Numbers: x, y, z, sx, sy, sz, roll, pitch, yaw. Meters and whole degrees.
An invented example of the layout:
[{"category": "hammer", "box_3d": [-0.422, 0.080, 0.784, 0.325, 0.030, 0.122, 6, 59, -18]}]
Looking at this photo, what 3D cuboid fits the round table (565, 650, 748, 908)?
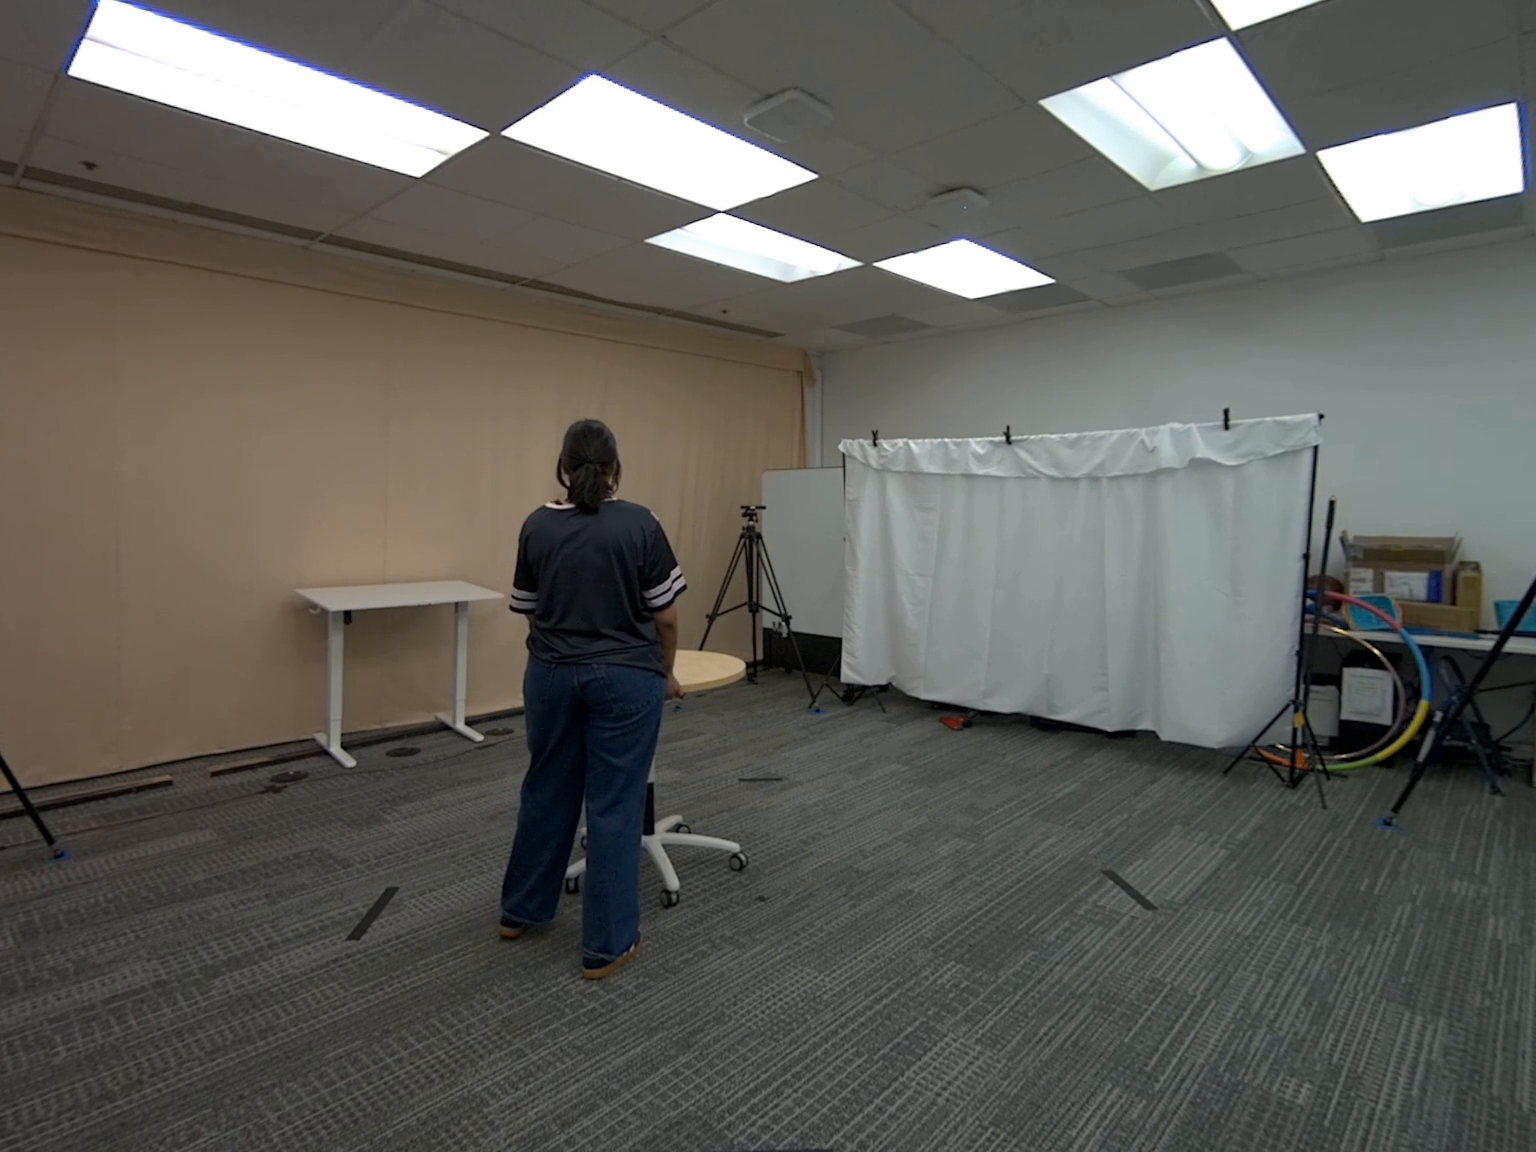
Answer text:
[{"category": "round table", "box_3d": [-0.452, 0.741, 3.213, 0.763, 0.792, 0.767, -1, 4, -2]}]
